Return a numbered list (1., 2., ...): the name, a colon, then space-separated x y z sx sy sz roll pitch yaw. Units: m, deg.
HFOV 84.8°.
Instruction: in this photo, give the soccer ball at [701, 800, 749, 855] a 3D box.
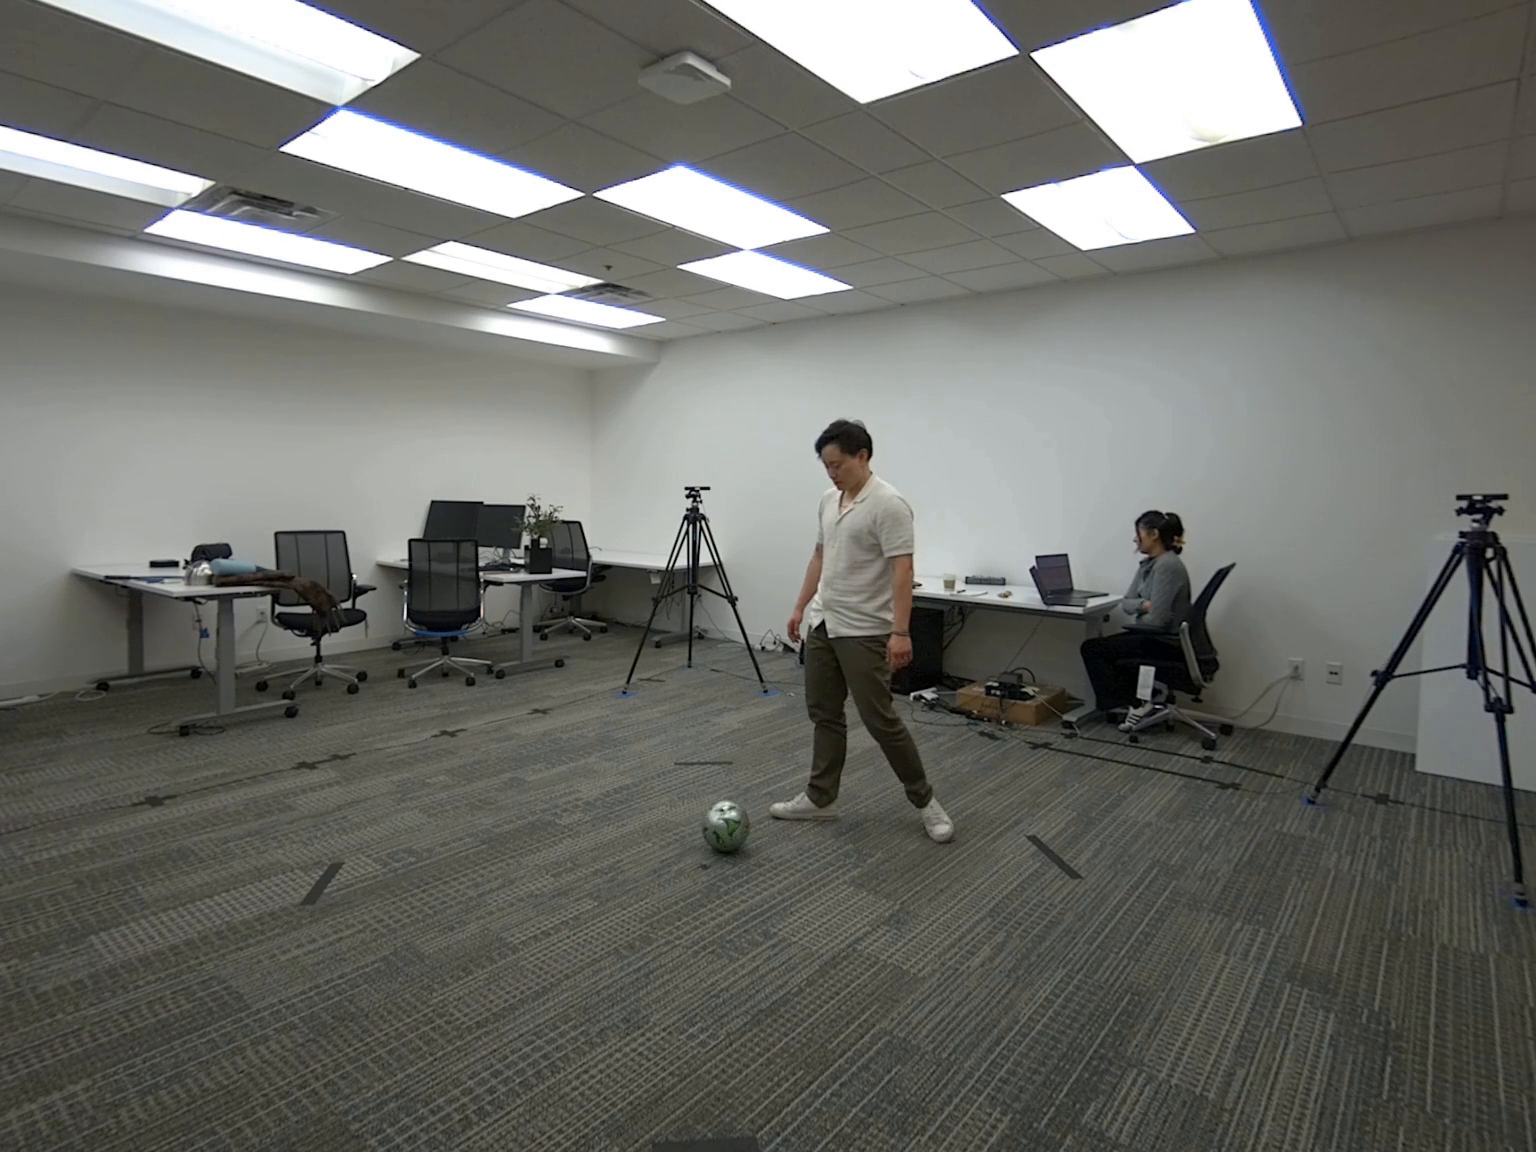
1. soccer ball: -0.170 0.955 3.259 0.187 0.187 0.188 1 4 -2
